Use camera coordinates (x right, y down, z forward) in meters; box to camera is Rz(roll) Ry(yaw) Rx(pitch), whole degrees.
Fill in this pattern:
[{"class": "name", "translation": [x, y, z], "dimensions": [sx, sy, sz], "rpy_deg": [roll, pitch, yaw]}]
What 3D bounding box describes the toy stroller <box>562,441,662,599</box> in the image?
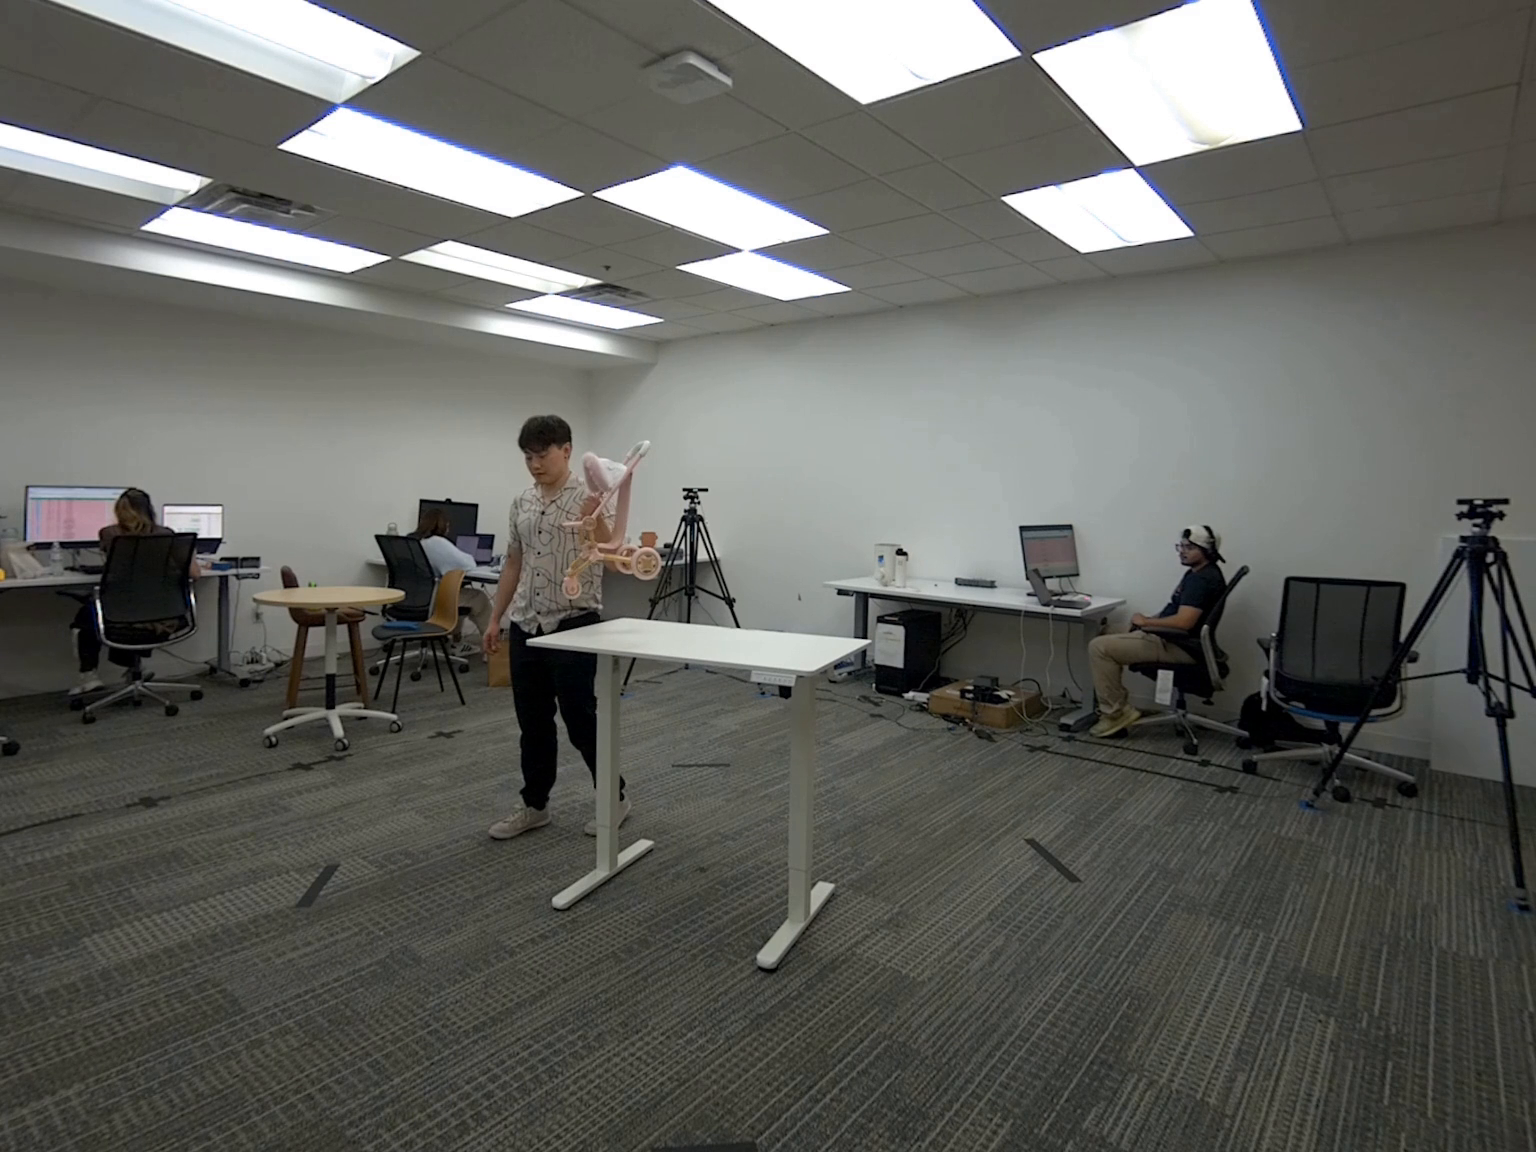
[{"class": "toy stroller", "translation": [-0.598, -0.200, 2.994], "dimensions": [0.336, 0.533, 0.287], "rpy_deg": [-4, 4, -16]}]
